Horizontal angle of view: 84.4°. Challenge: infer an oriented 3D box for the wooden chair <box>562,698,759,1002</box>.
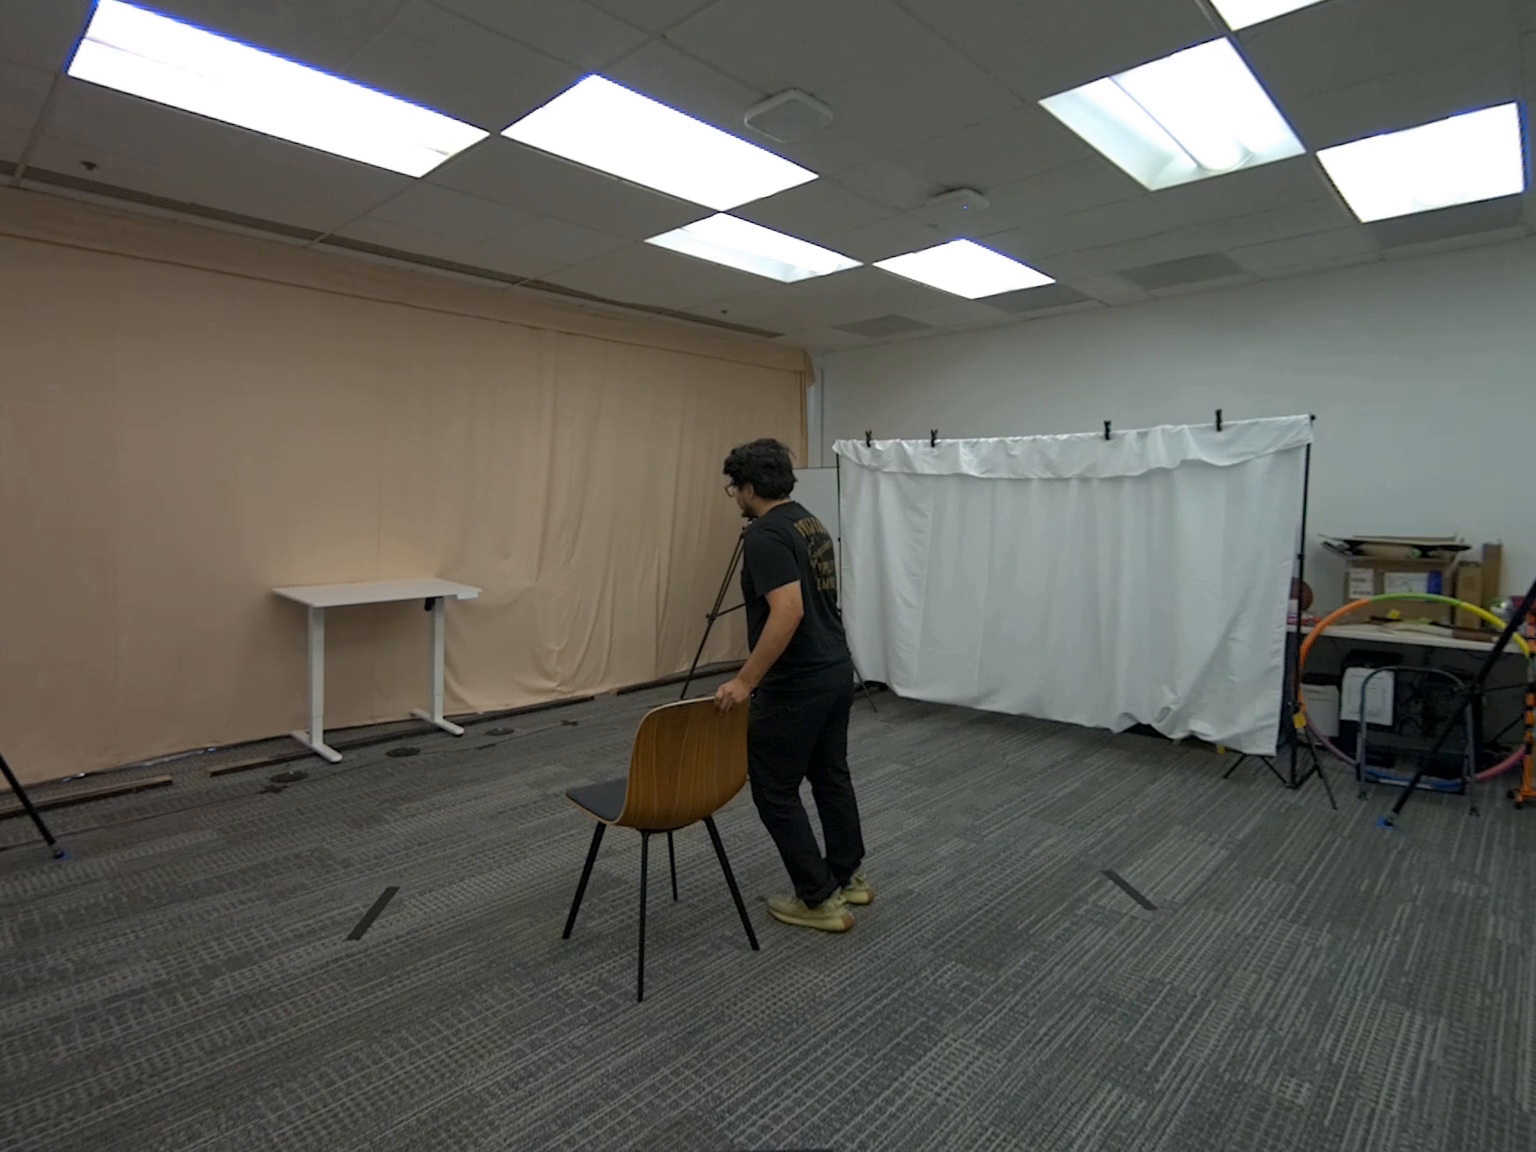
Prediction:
[{"bbox_3d":[-0.354,0.748,2.651,0.463,0.874,0.541,-2,8,-41],"label":"wooden chair"}]
